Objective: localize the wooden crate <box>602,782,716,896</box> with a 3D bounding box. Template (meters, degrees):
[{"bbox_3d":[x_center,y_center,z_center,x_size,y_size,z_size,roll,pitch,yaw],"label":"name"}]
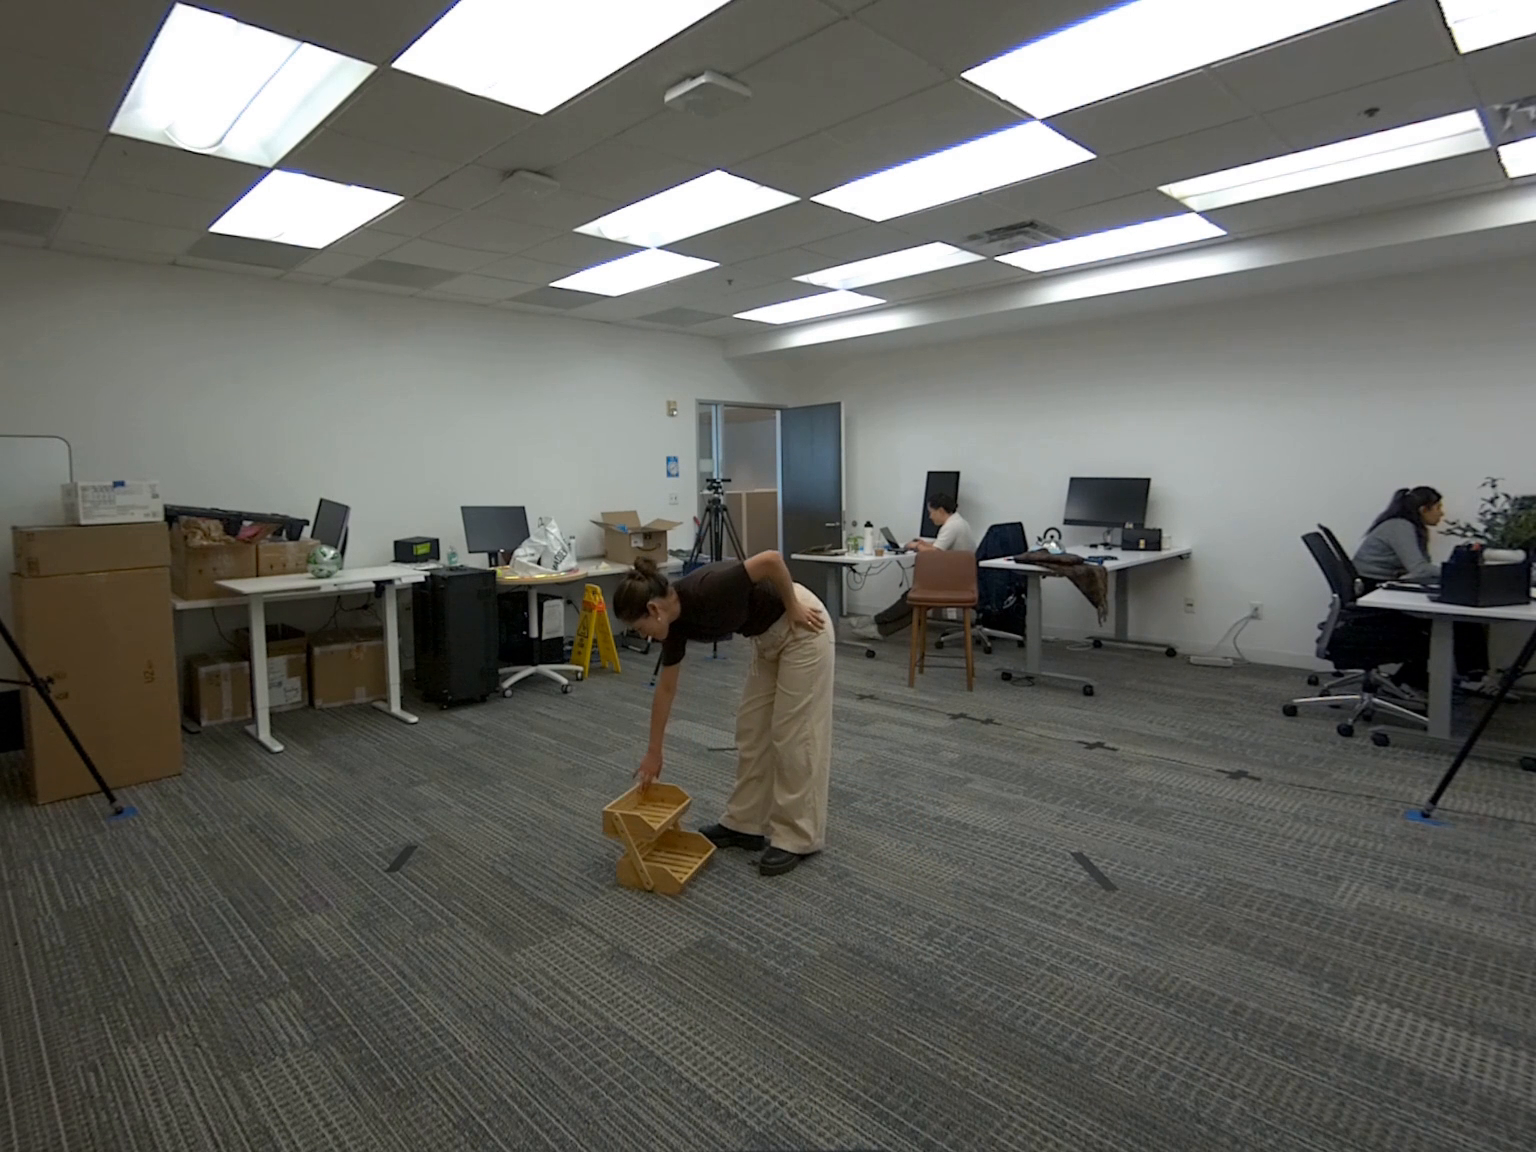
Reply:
[{"bbox_3d":[-0.373,0.920,3.049,0.308,0.272,0.319,1,5,21],"label":"wooden crate"}]
